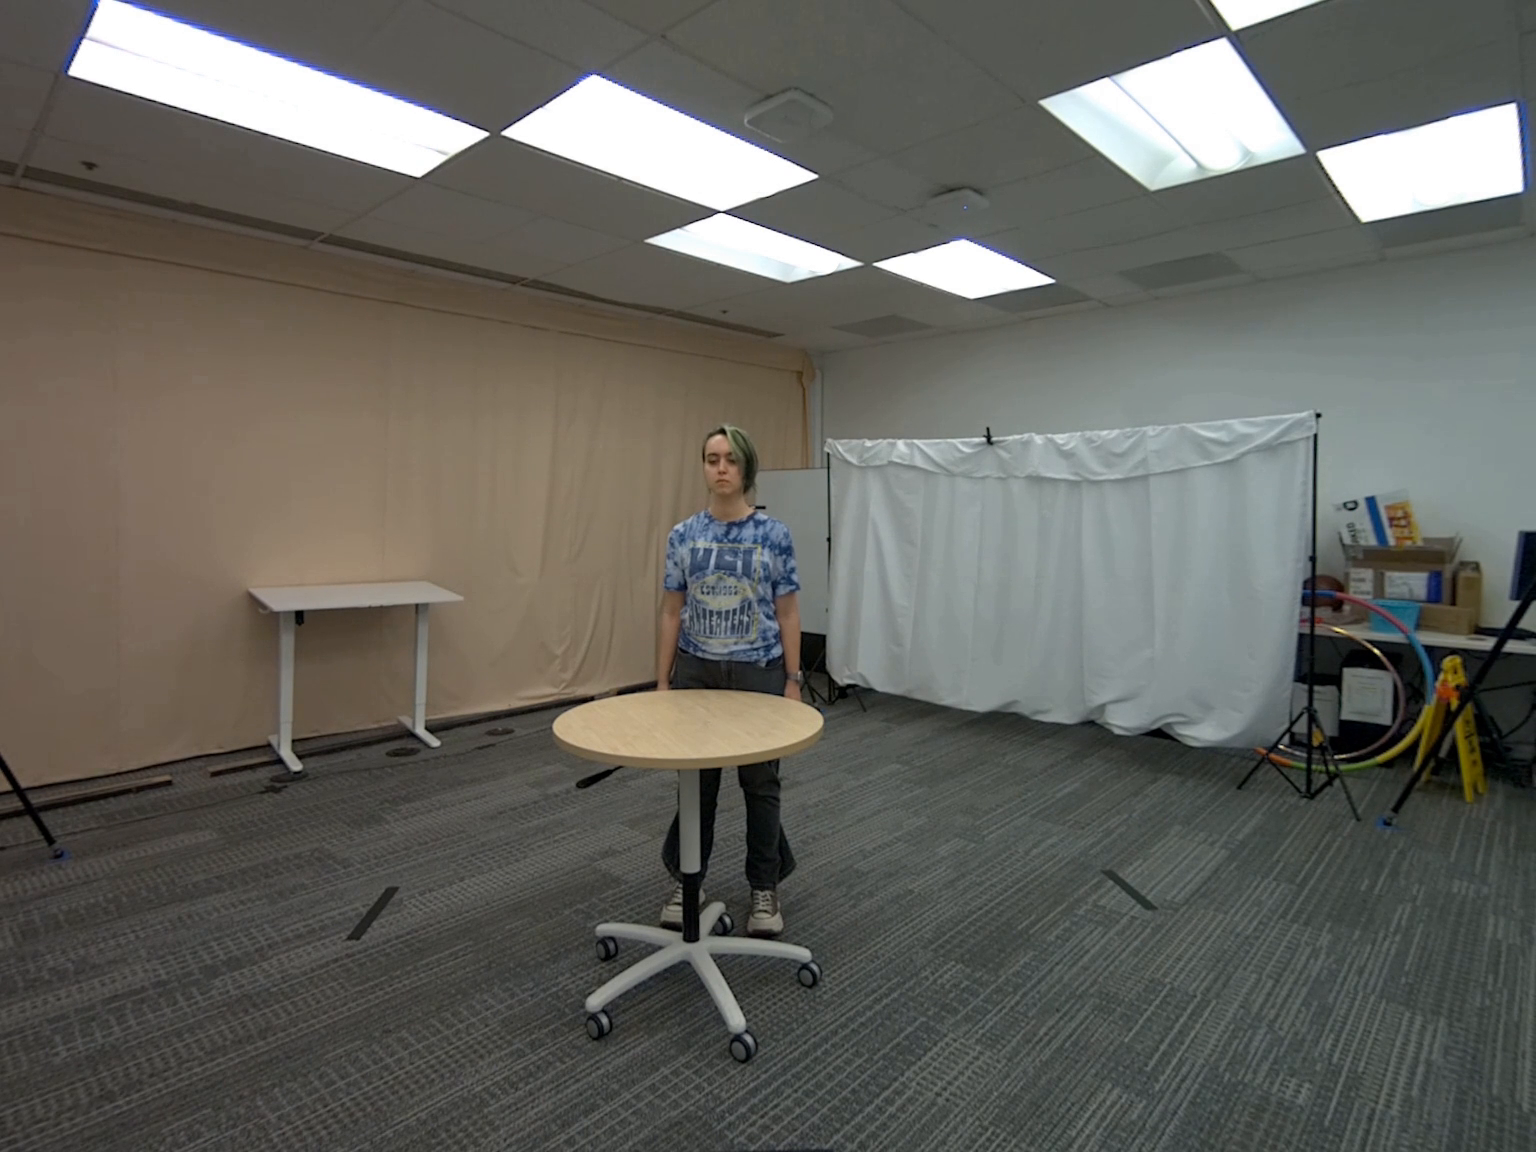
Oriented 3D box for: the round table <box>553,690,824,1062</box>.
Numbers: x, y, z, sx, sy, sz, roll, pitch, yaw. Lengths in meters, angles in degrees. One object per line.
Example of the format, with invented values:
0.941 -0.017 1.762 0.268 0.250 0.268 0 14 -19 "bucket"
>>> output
-0.231 0.796 2.434 0.784 0.785 0.788 0 4 -2 "round table"
